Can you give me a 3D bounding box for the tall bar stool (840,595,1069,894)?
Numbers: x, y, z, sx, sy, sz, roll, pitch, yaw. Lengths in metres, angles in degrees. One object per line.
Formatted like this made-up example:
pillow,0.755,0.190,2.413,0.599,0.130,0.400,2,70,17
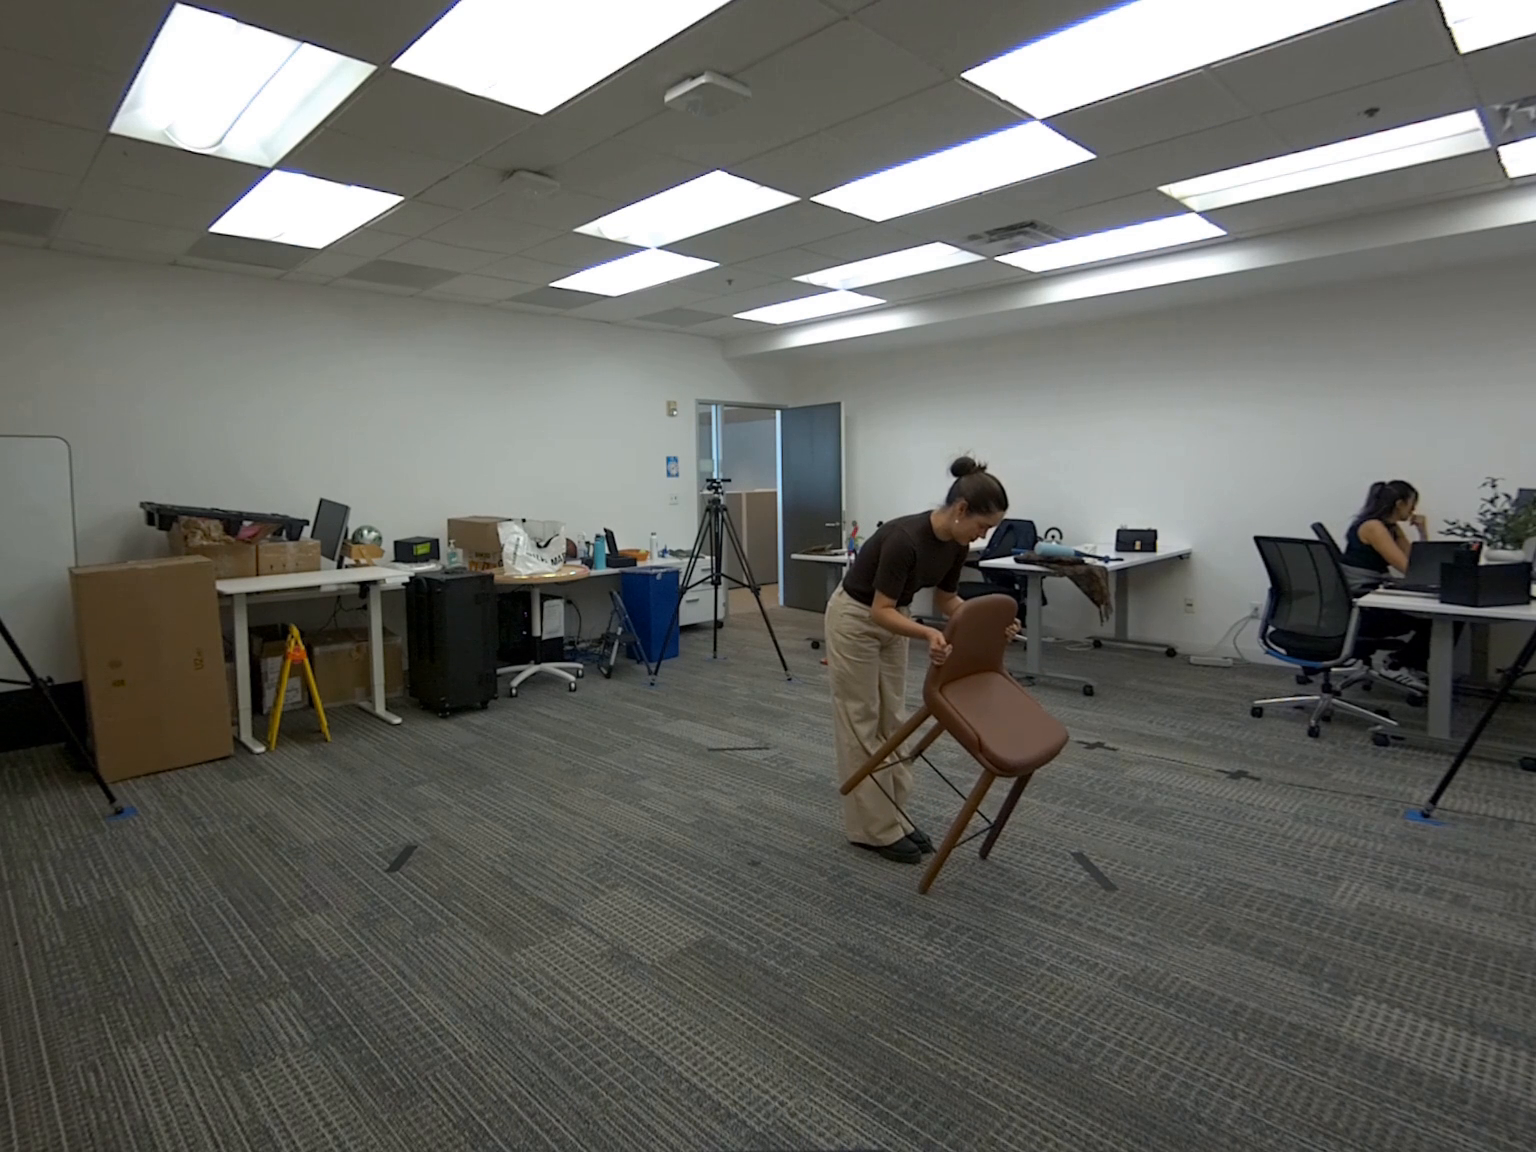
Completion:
tall bar stool,0.690,0.563,2.912,0.444,0.880,0.485,-4,38,-44
